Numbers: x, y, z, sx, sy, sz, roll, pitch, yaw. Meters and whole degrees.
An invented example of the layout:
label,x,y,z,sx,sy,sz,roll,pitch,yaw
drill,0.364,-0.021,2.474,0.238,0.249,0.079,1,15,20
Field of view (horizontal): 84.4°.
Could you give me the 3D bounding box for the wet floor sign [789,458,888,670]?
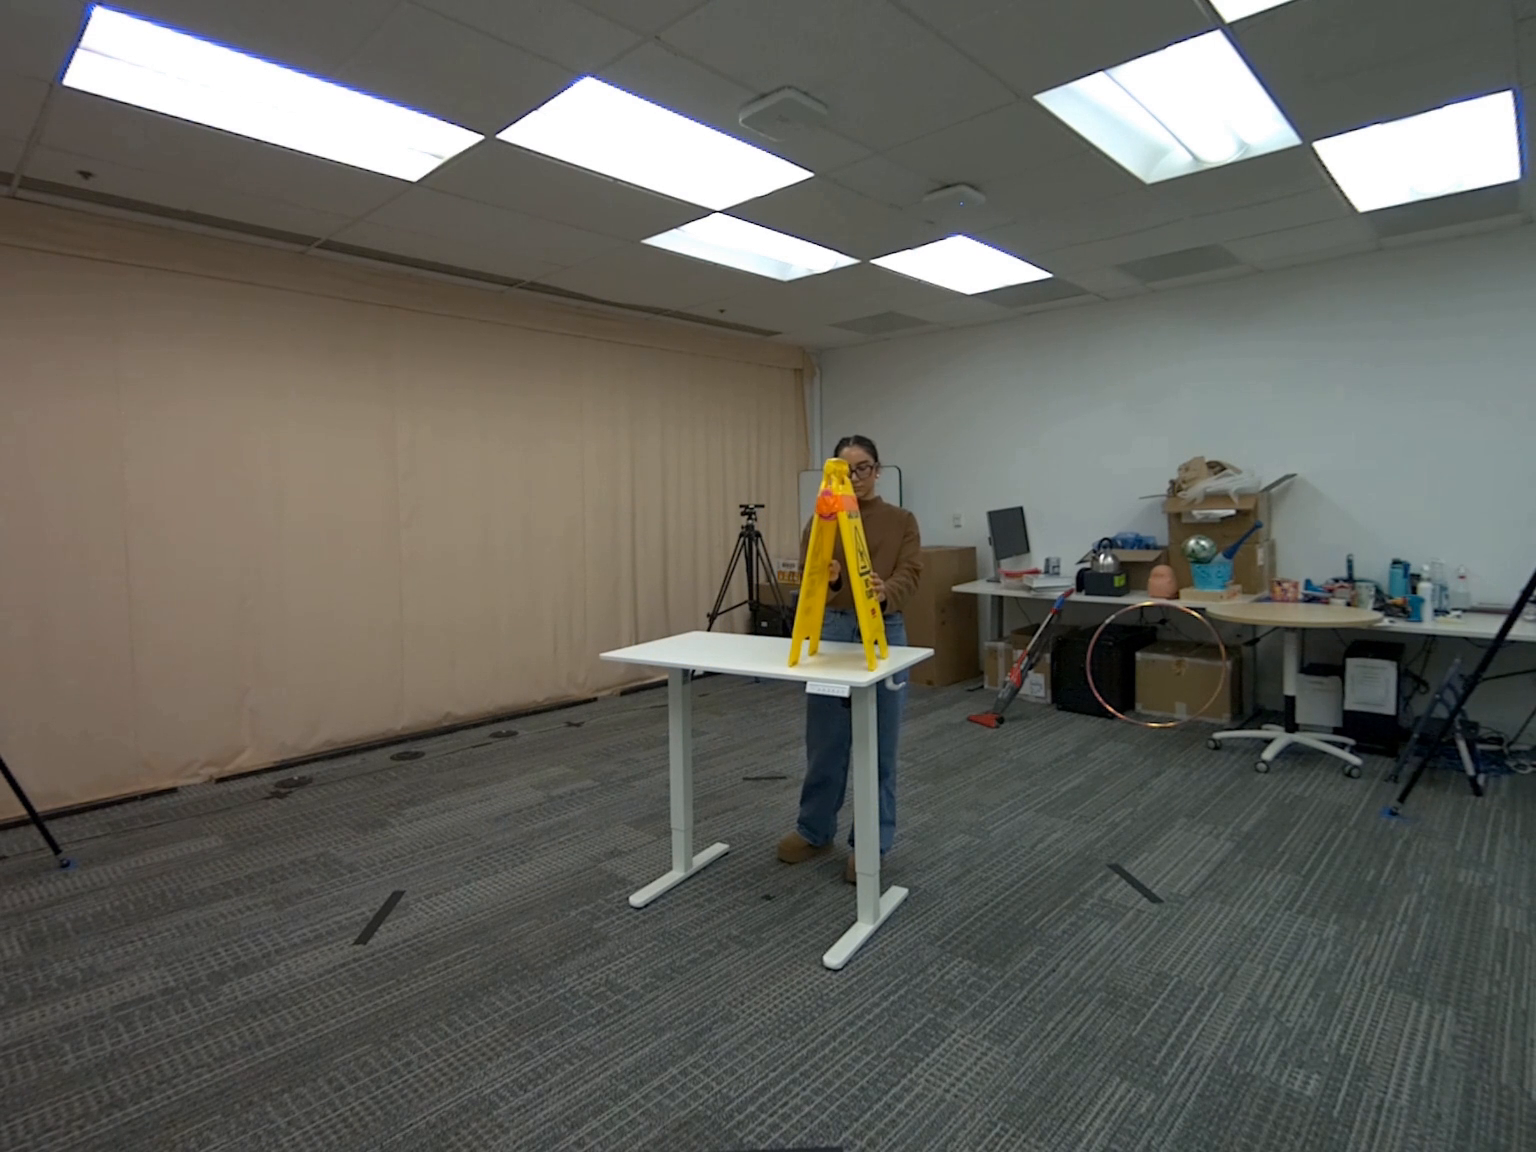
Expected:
label,x,y,z,sx,sy,sz,roll,pitch,yaw
wet floor sign,0.234,-0.047,2.691,0.296,0.644,0.277,0,4,21
